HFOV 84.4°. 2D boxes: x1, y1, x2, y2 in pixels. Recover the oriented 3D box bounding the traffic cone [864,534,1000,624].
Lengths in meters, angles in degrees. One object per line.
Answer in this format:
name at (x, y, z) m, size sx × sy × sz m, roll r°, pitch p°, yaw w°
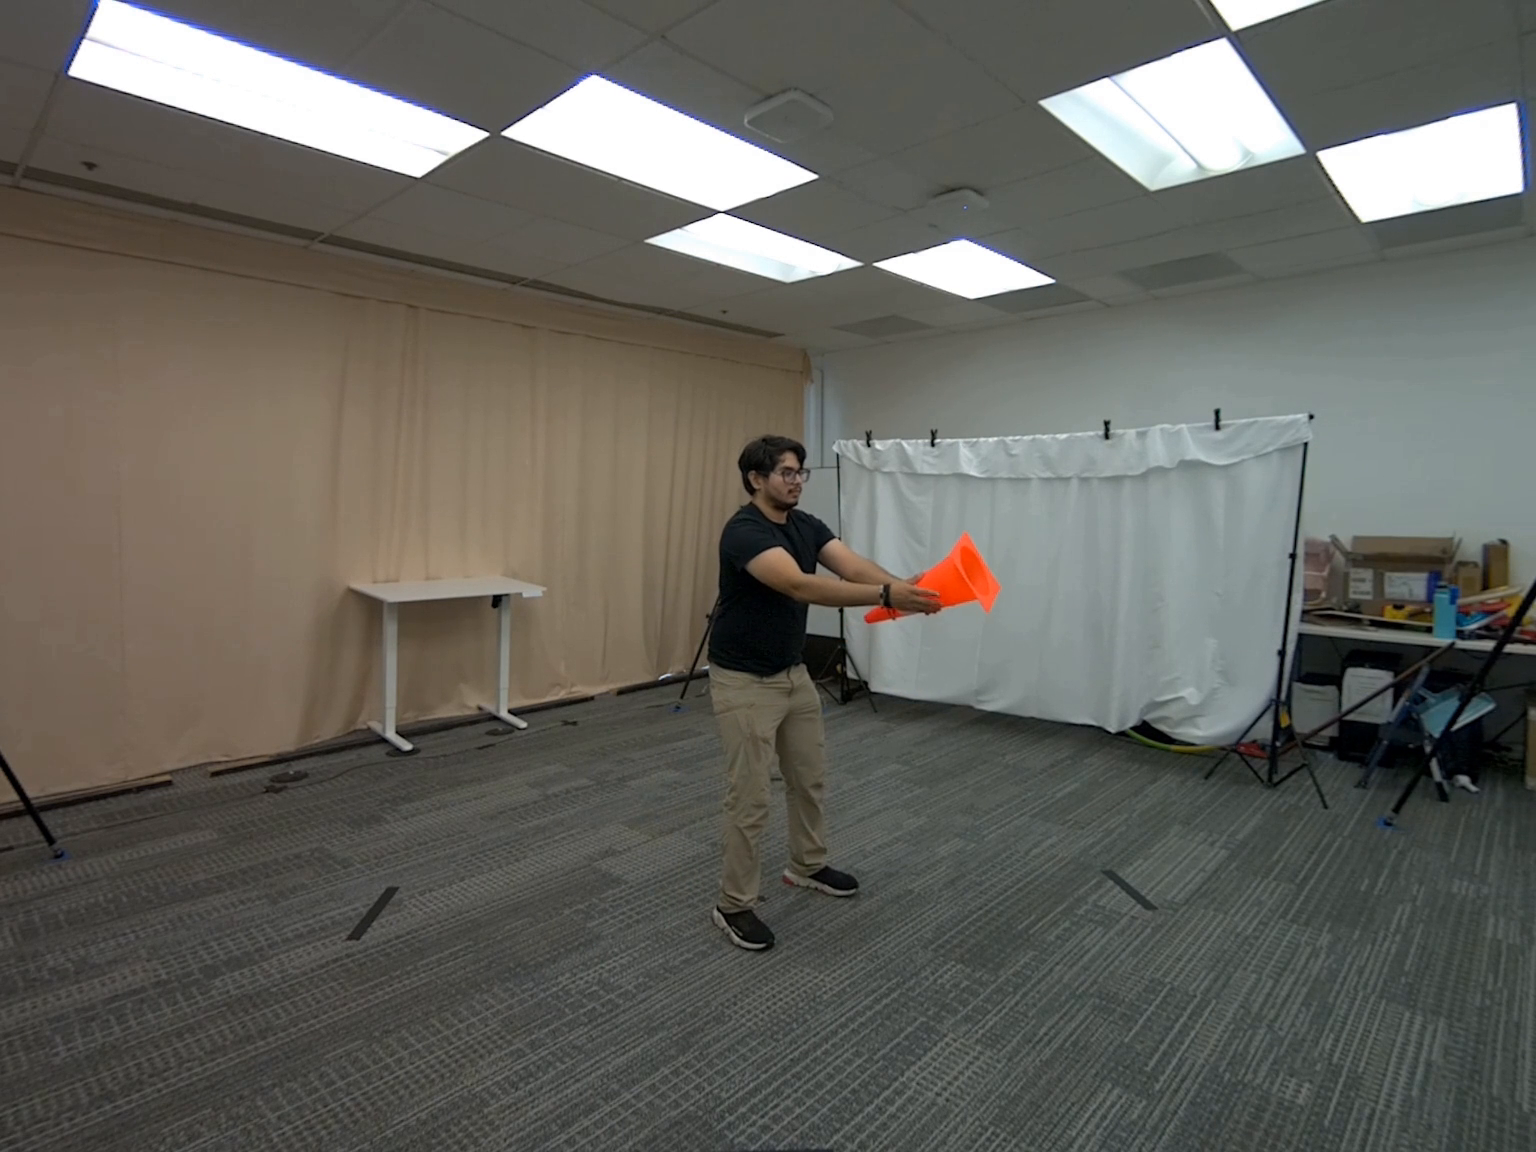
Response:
traffic cone at (0.461, 0.068, 2.486) m, size 0.391 × 0.202 × 0.202 m, roll -27°, pitch 8°, yaw 35°
